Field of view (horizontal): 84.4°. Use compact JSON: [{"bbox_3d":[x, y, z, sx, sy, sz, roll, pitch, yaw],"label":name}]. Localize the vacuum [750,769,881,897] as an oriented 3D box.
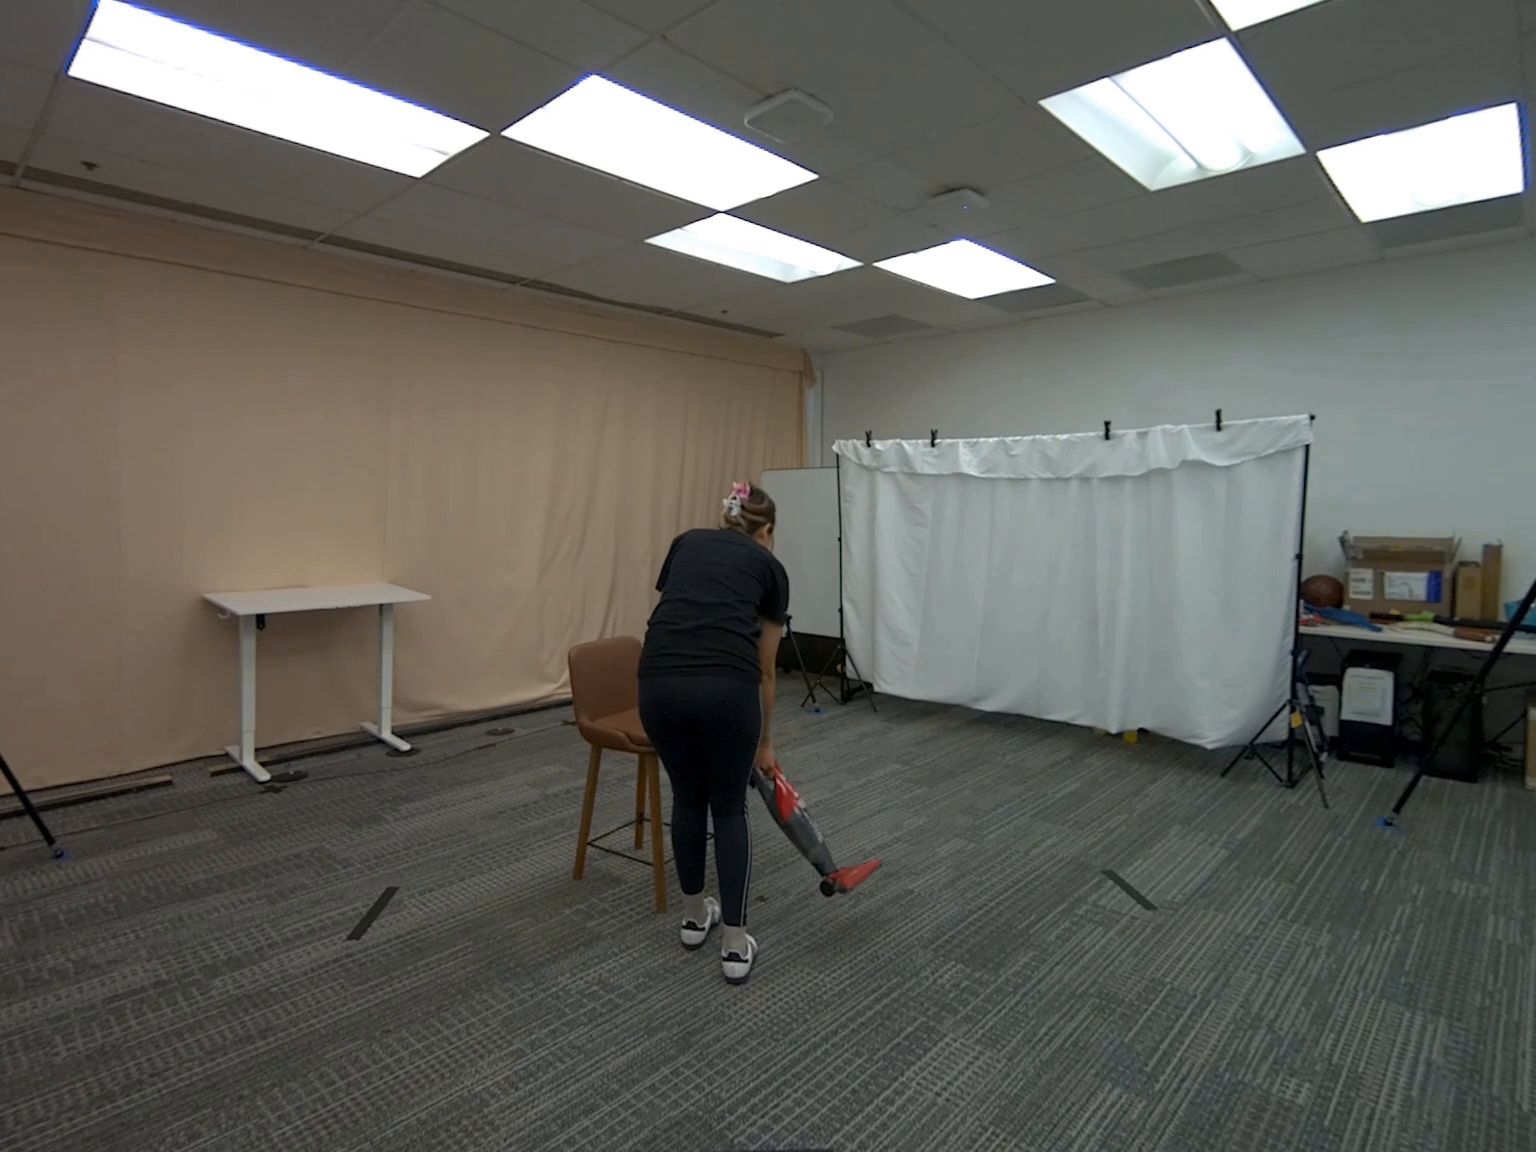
[{"bbox_3d":[-0.054,0.621,2.905,1.077,0.144,0.245,47,25,23],"label":"vacuum"}]
